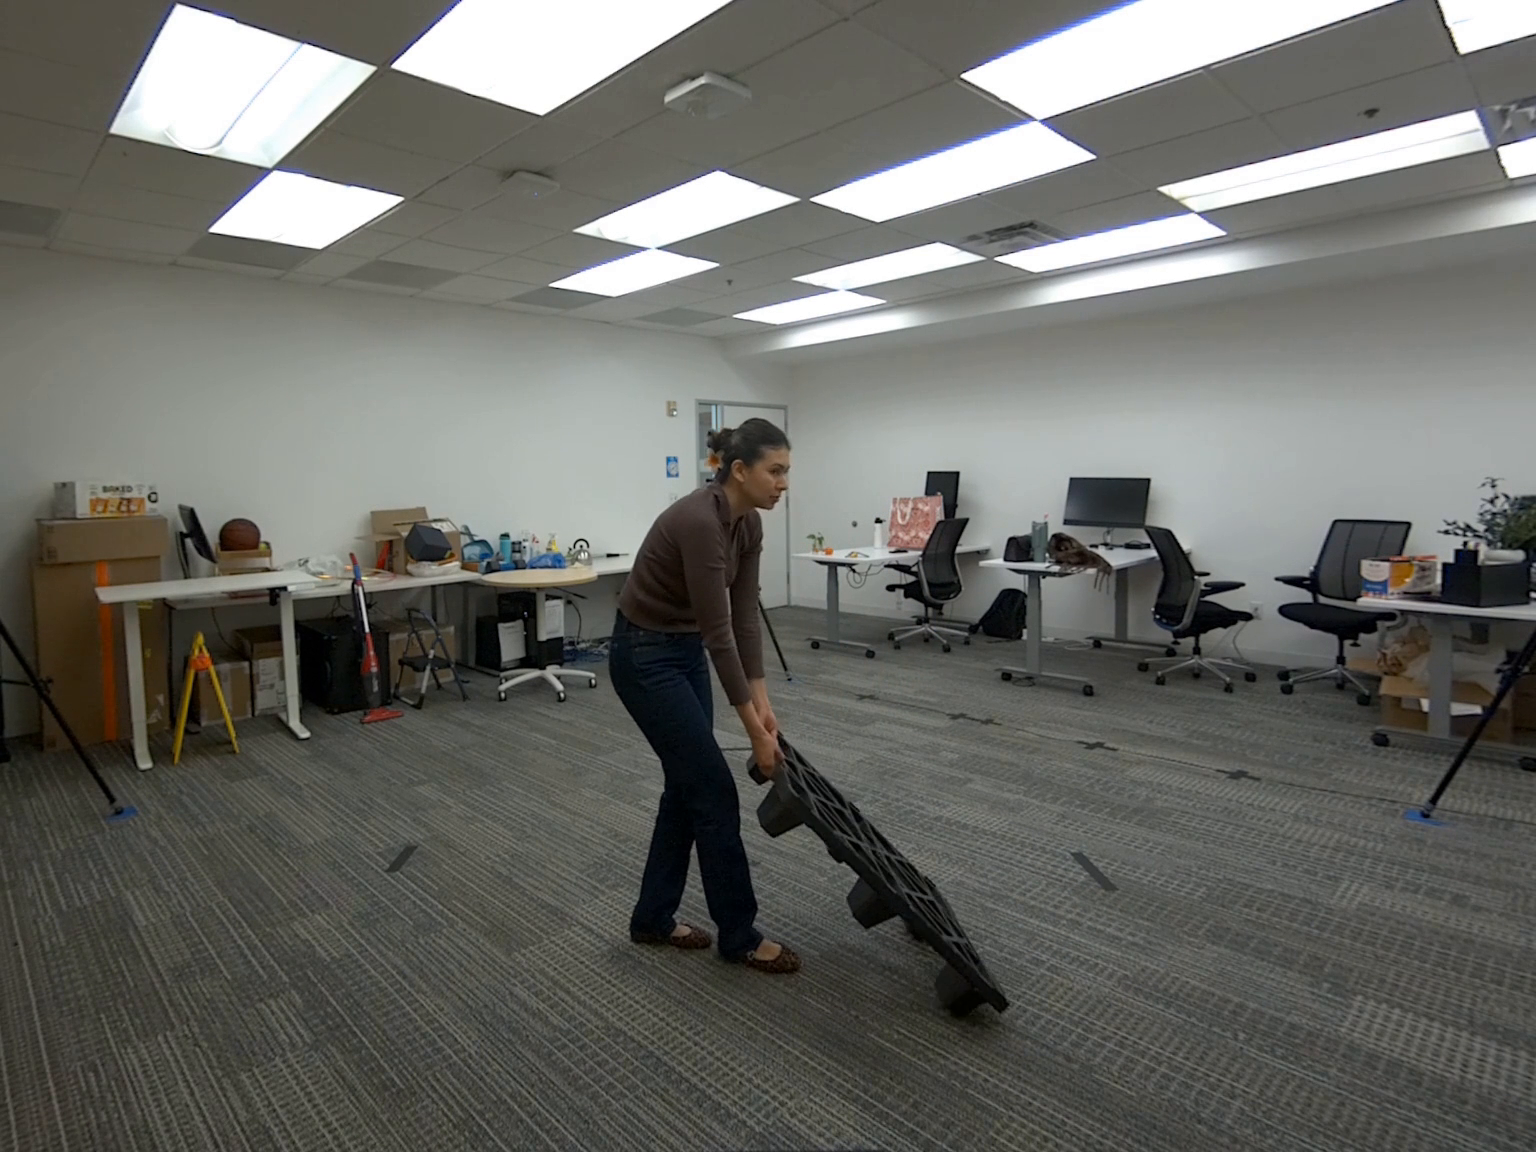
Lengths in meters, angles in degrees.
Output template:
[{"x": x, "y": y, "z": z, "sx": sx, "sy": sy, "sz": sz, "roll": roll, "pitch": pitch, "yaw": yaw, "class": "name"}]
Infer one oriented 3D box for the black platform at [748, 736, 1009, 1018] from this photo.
[{"x": 0.258, "y": 0.803, "z": 2.403, "sx": 0.143, "sy": 0.800, "sz": 0.610, "roll": -44, "pitch": 7, "yaw": -1, "class": "black platform"}]
